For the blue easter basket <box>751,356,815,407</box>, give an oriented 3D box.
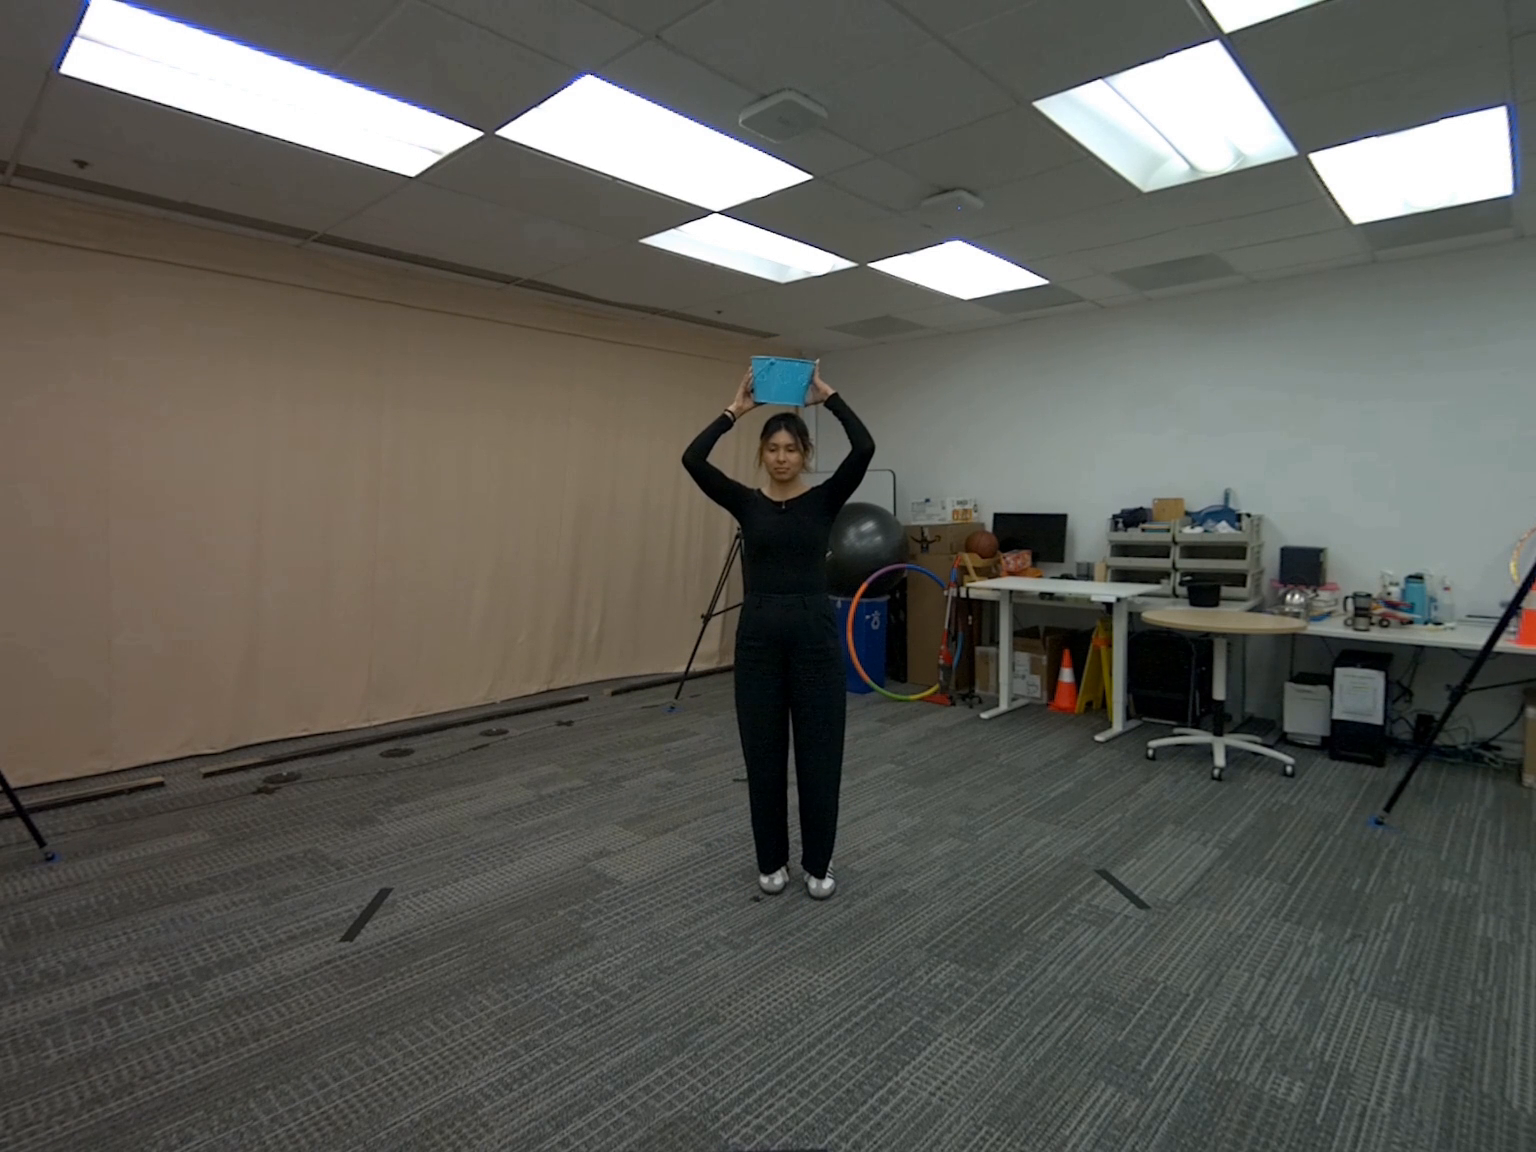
[{"bbox_3d":[0.051,-0.687,2.969,0.243,0.155,0.246,4,13,-3],"label":"blue easter basket"}]
